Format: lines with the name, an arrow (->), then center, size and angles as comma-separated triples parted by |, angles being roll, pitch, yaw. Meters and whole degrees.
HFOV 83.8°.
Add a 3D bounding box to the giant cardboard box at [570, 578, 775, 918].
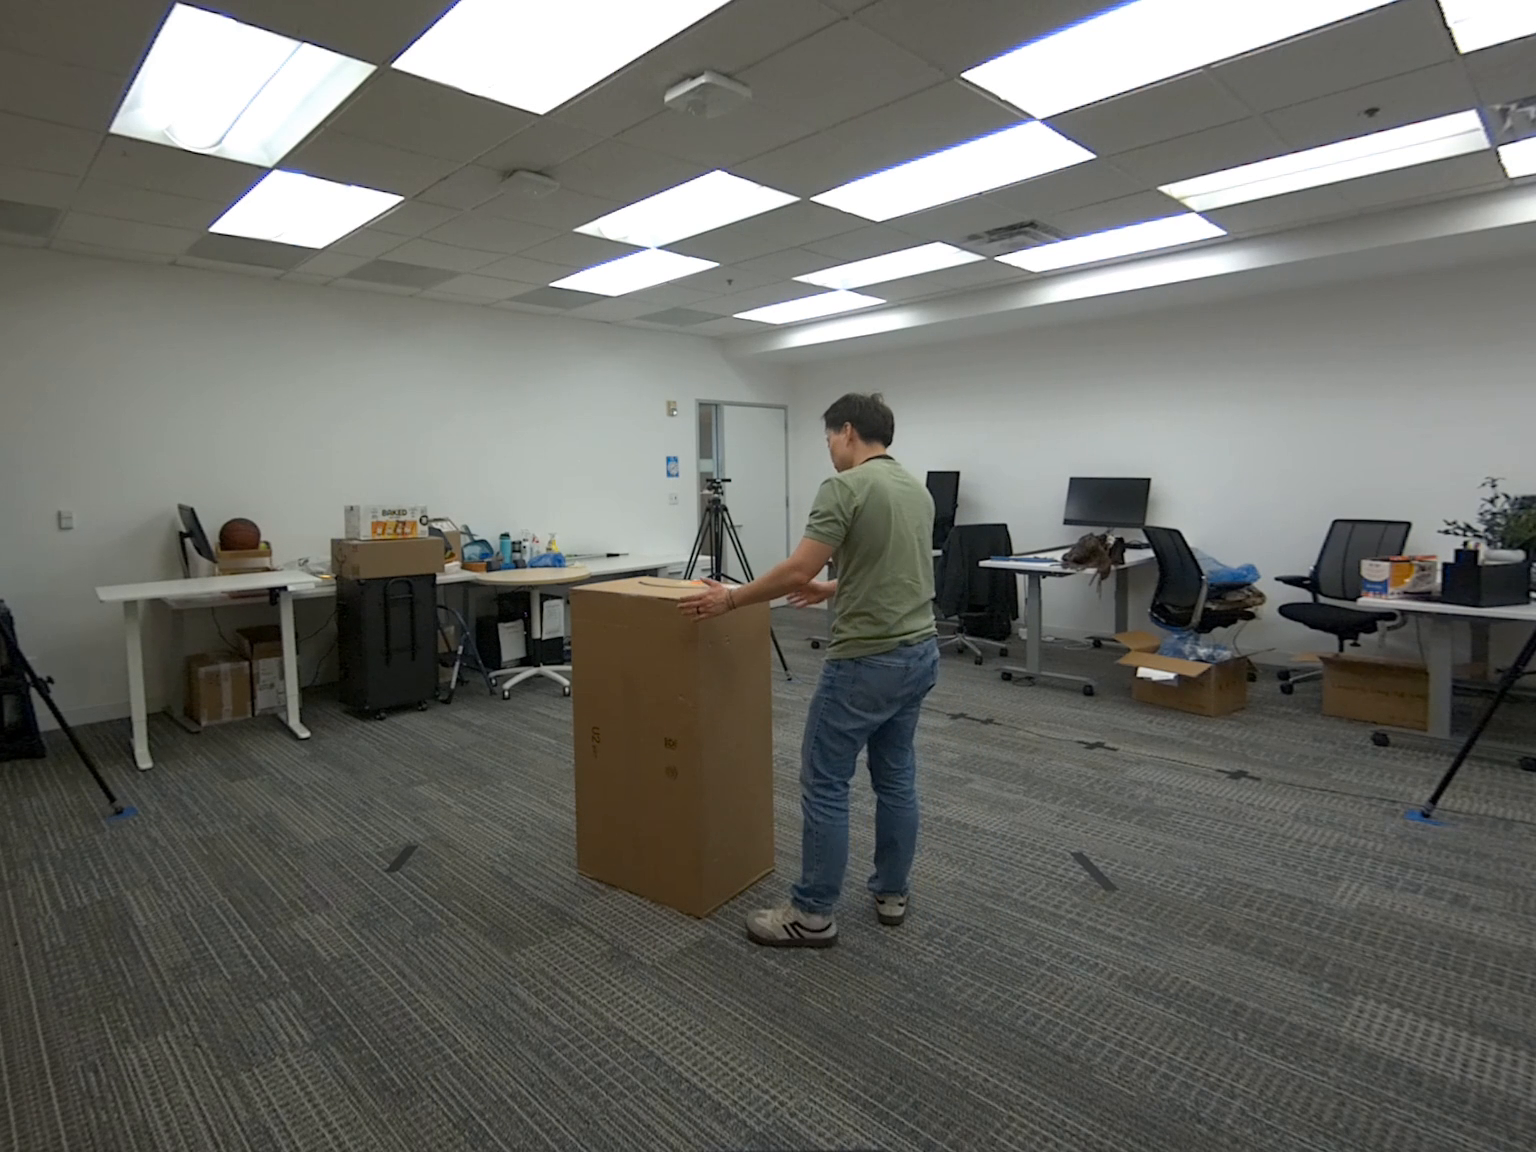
giant cardboard box -> -0.335, 0.546, 3.026 | 0.594, 1.022, 0.415 | 2, 5, 35
